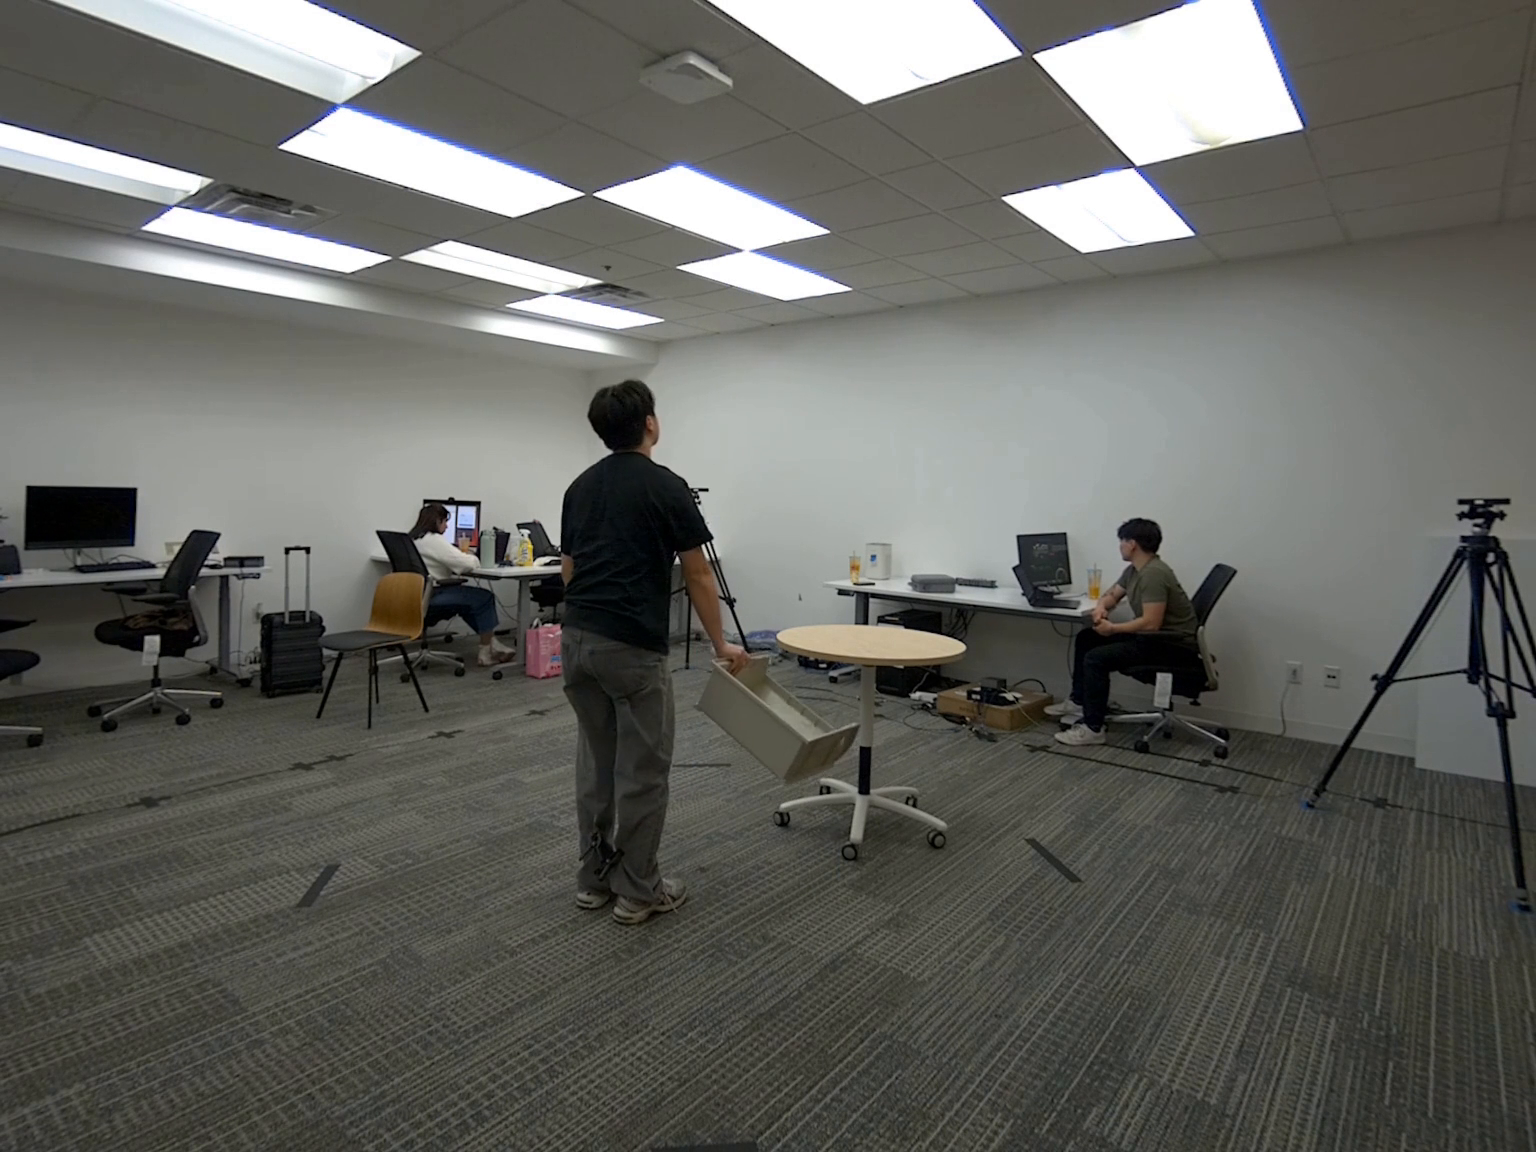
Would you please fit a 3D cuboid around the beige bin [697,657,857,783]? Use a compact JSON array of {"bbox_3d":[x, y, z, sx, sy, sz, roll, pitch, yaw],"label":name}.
[{"bbox_3d":[0.026,0.465,2.798,0.438,0.187,0.366,35,20,30],"label":"beige bin"}]
